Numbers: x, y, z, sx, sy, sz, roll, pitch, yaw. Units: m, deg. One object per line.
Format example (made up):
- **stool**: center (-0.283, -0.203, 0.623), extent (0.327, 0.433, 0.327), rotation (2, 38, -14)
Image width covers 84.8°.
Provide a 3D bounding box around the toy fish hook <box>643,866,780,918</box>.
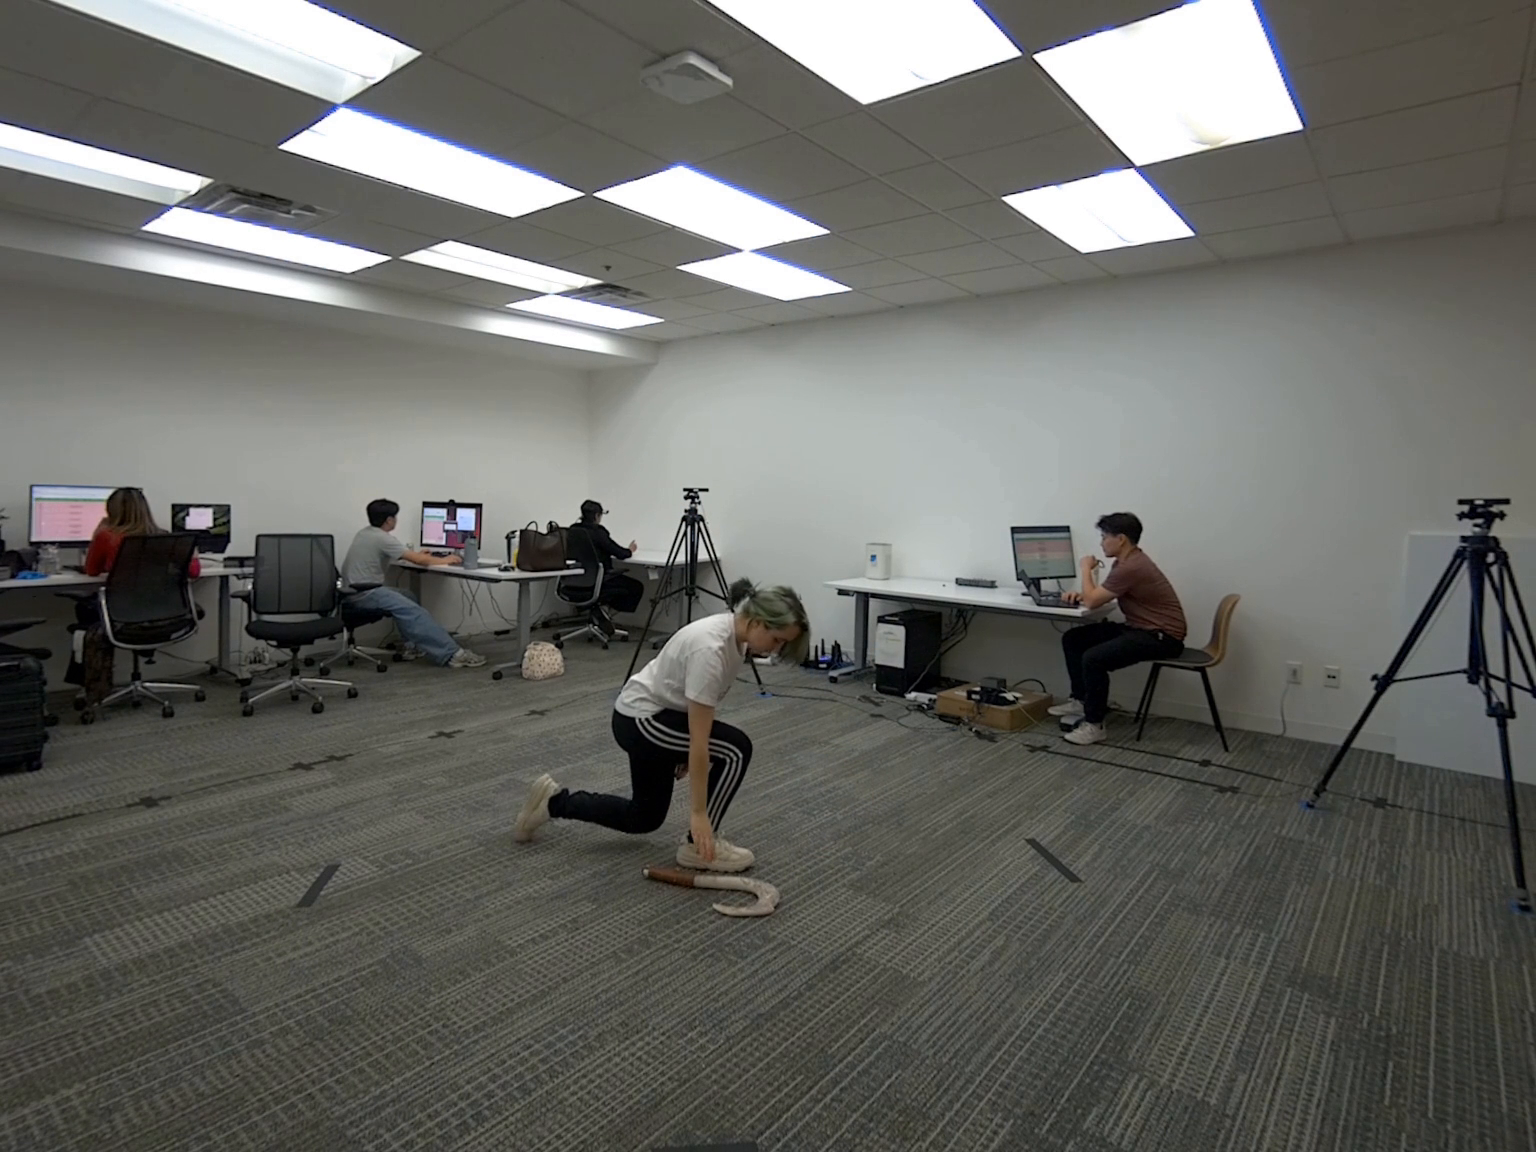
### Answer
- **toy fish hook**: center (-0.224, 1.065, 2.899), extent (0.516, 0.048, 0.221), rotation (2, 4, 17)
